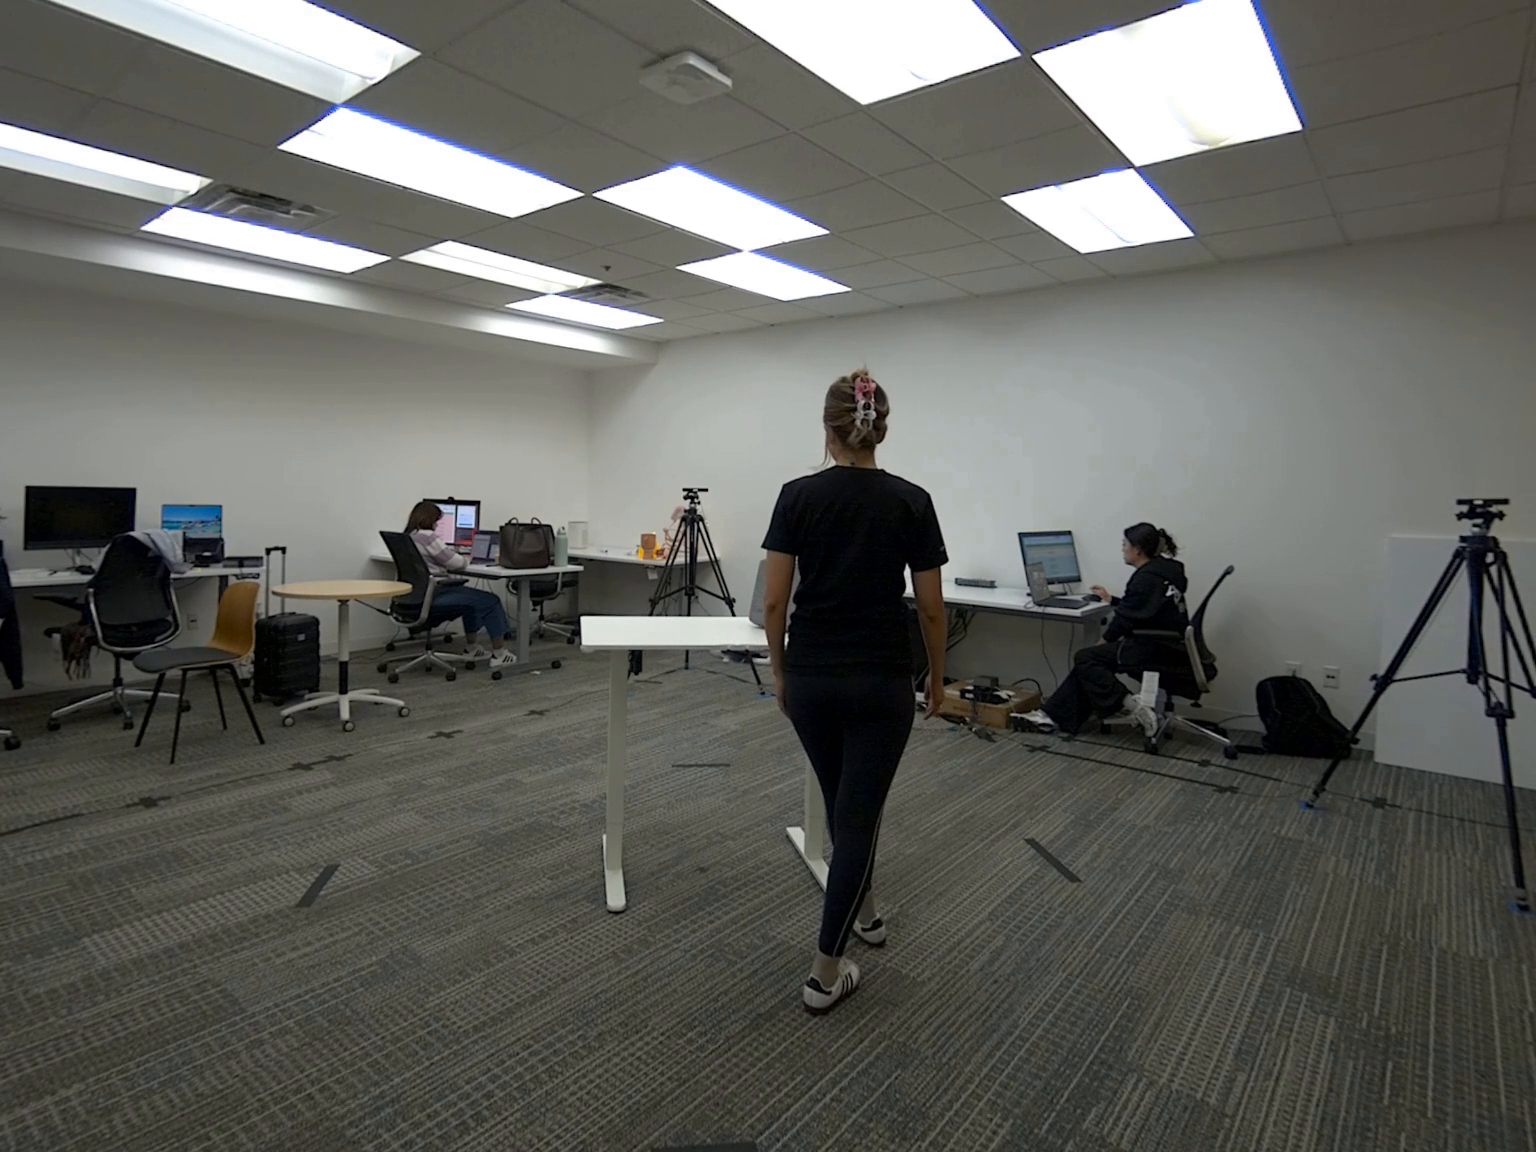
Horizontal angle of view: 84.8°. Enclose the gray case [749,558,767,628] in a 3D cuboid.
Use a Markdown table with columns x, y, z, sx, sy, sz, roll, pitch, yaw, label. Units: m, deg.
| x | y | z | sx | sy | sz | roll | pitch | yaw | label |
| --- | --- | --- | --- | --- | --- | --- | --- | --- | --- |
| 0.060 | 0.063 | 3.114 | 0.266 | 0.261 | 0.100 | 6 | -6 | 43 | gray case |
